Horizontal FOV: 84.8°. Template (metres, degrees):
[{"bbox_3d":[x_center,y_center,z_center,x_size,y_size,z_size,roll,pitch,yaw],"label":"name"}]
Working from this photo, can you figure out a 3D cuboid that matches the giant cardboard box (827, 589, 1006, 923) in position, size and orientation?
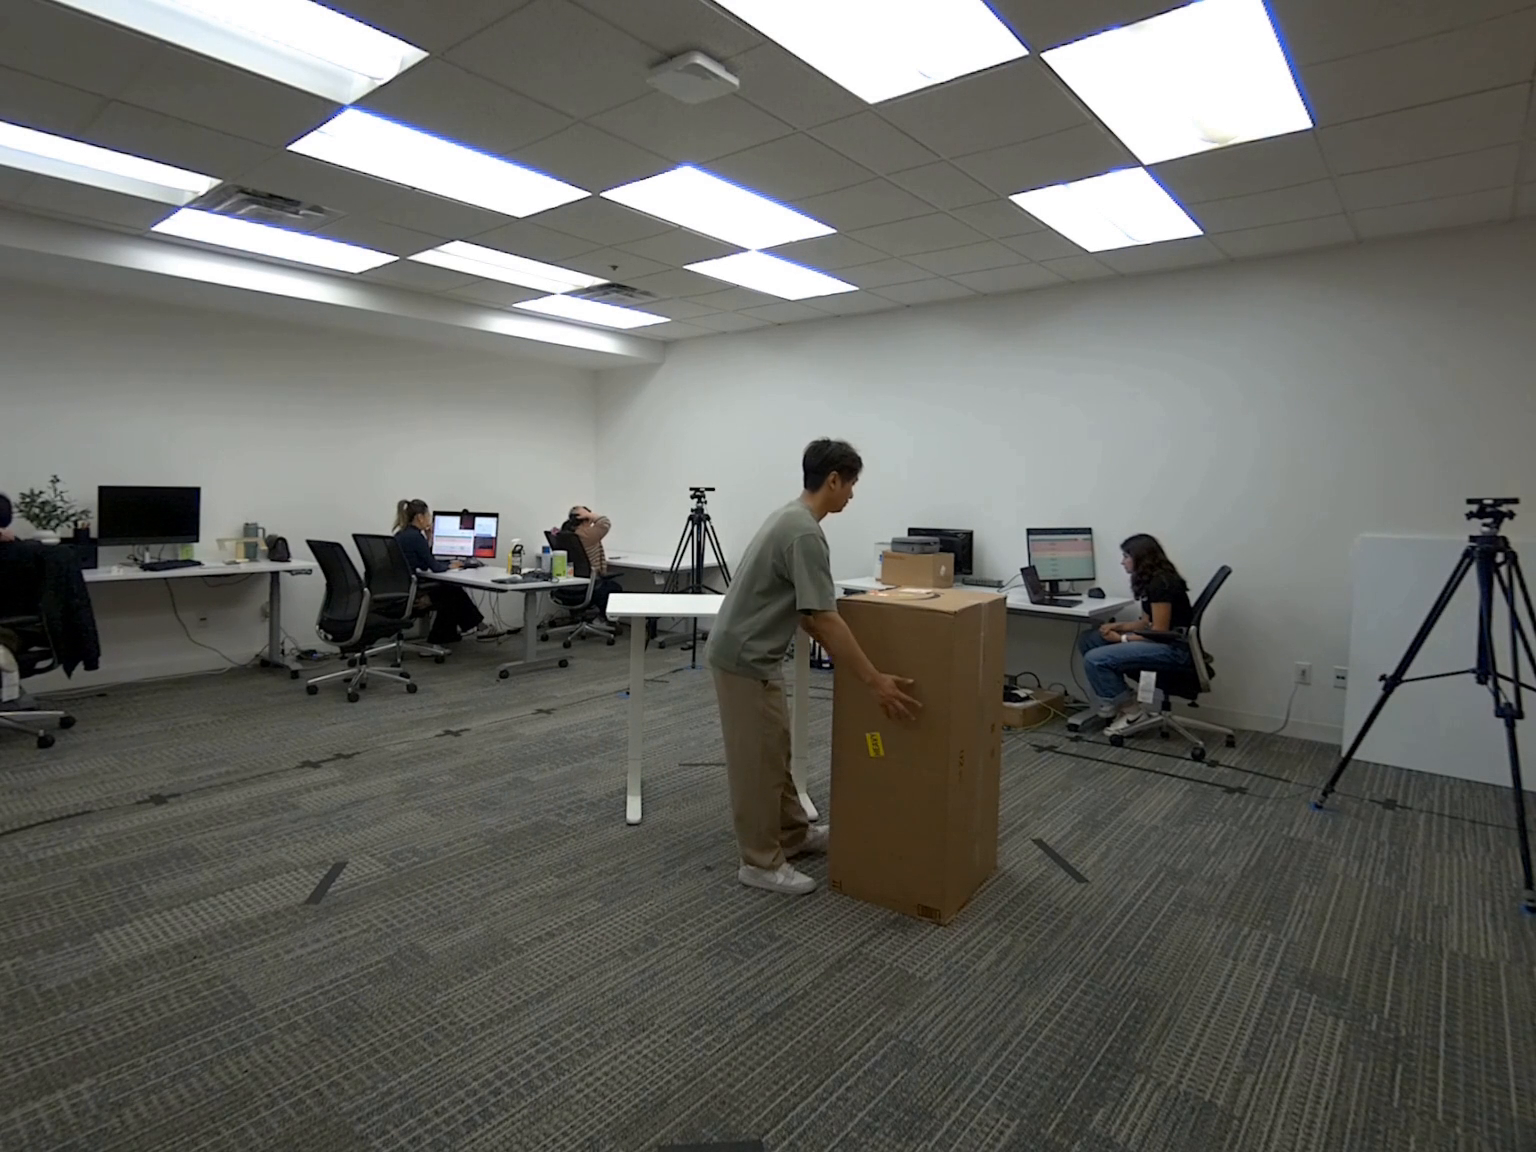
[{"bbox_3d":[0.539,0.579,3.056,0.439,1.023,0.562,3,4,33],"label":"giant cardboard box"}]
